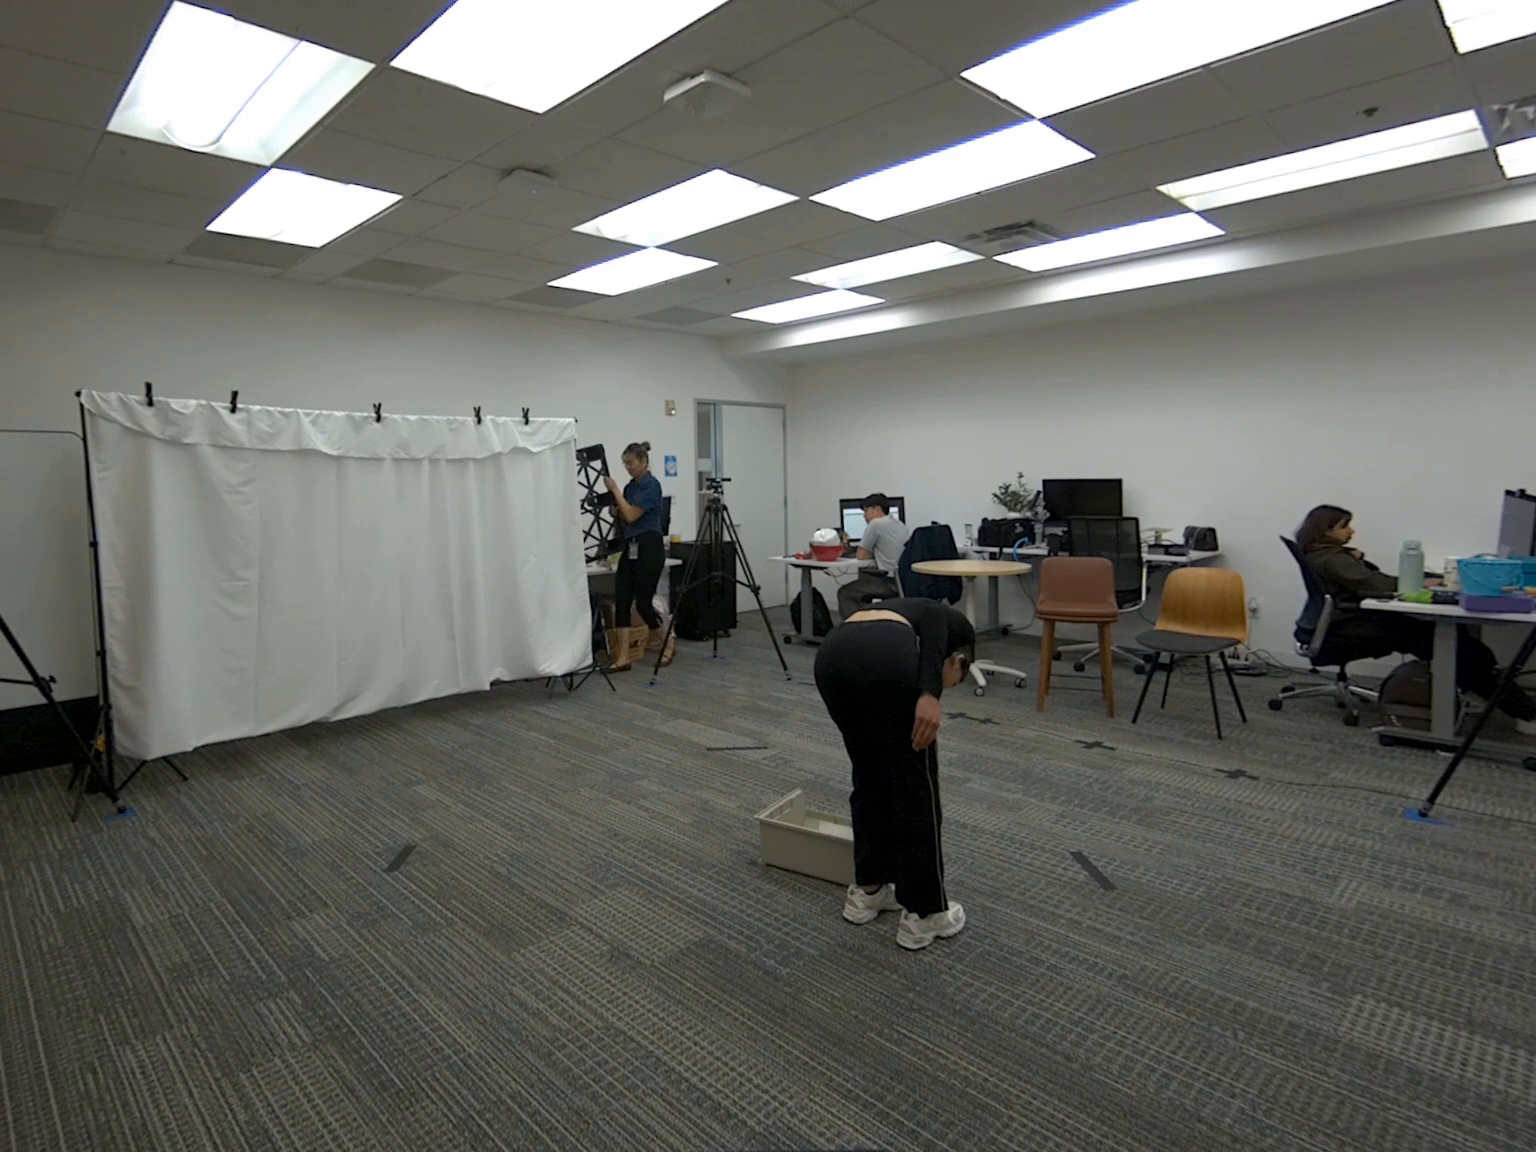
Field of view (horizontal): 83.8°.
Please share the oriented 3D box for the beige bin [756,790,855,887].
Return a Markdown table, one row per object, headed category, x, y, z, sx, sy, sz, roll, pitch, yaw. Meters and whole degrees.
| category | x | y | z | sx | sy | sz | roll | pitch | yaw |
| --- | --- | --- | --- | --- | --- | --- | --- | --- | --- |
| beige bin | 0.228 | 0.949 | 3.121 | 0.434 | 0.188 | 0.369 | 3 | 8 | 32 |
